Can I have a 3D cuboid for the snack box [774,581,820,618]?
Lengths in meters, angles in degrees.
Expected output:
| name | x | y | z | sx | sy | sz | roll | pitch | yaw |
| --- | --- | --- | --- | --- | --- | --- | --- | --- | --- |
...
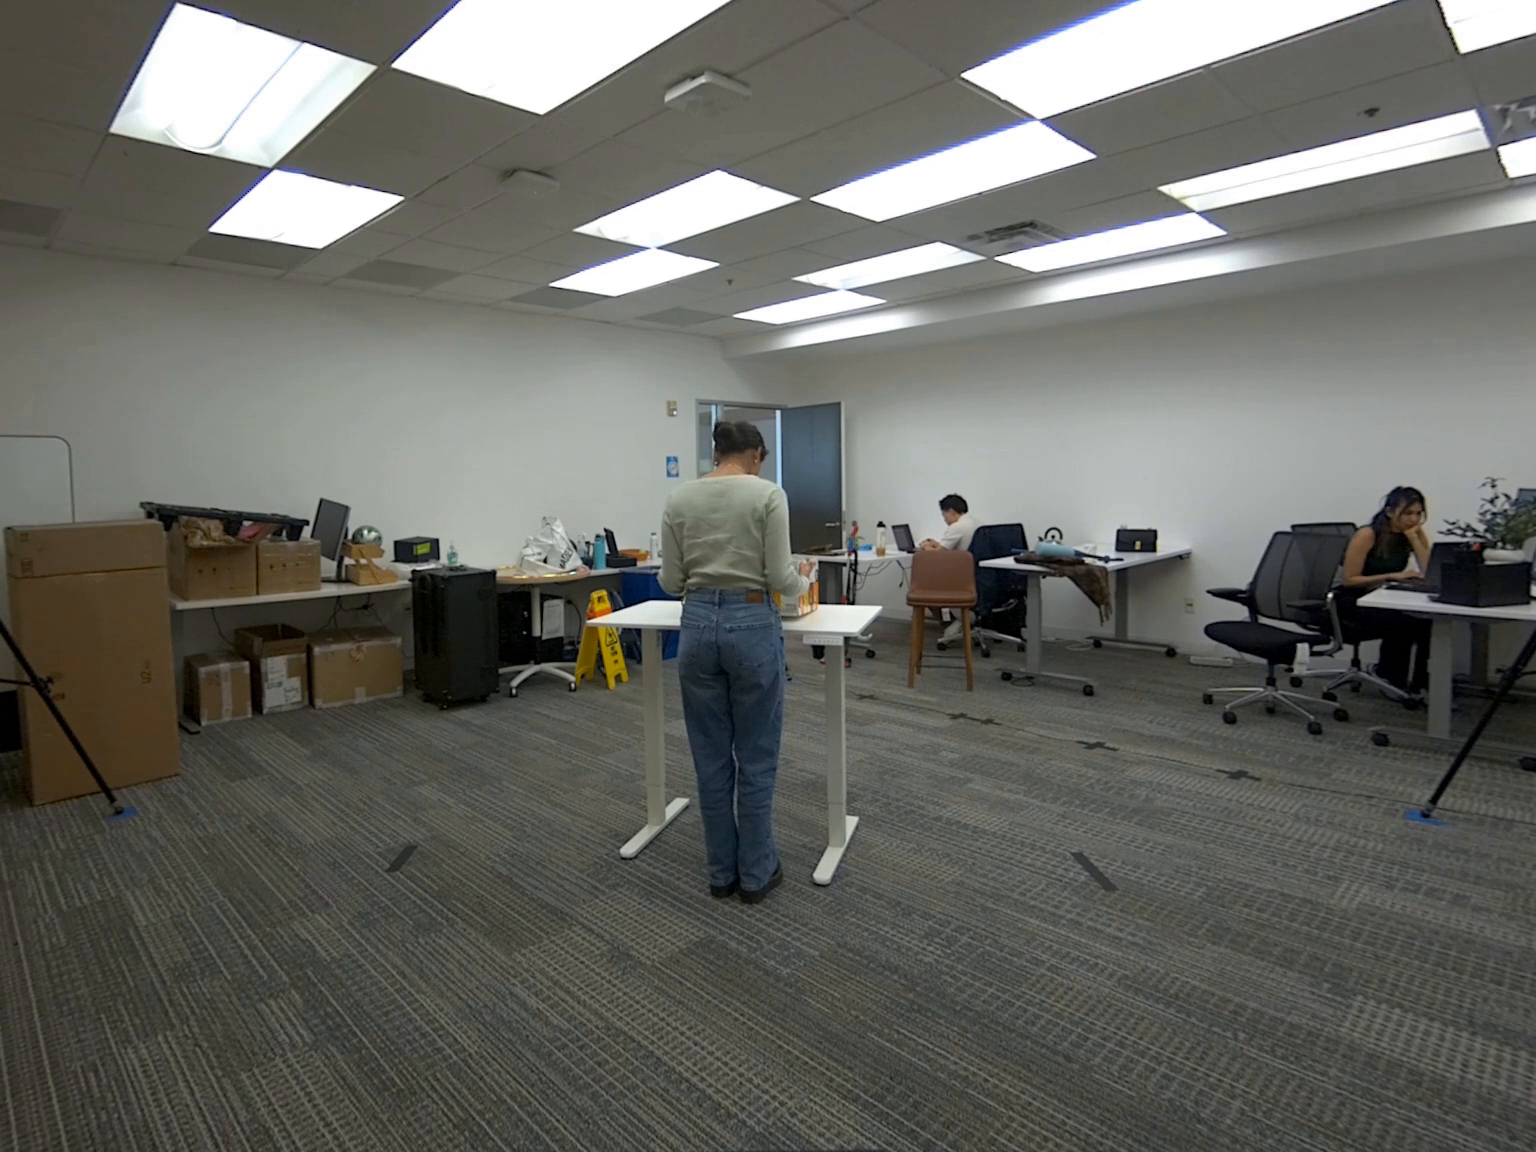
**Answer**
| name | x | y | z | sx | sy | sz | roll | pitch | yaw |
| --- | --- | --- | --- | --- | --- | --- | --- | --- | --- |
| snack box | -0.038 | 0.030 | 3.256 | 0.412 | 0.206 | 0.335 | 0 | 1 | 17 |
